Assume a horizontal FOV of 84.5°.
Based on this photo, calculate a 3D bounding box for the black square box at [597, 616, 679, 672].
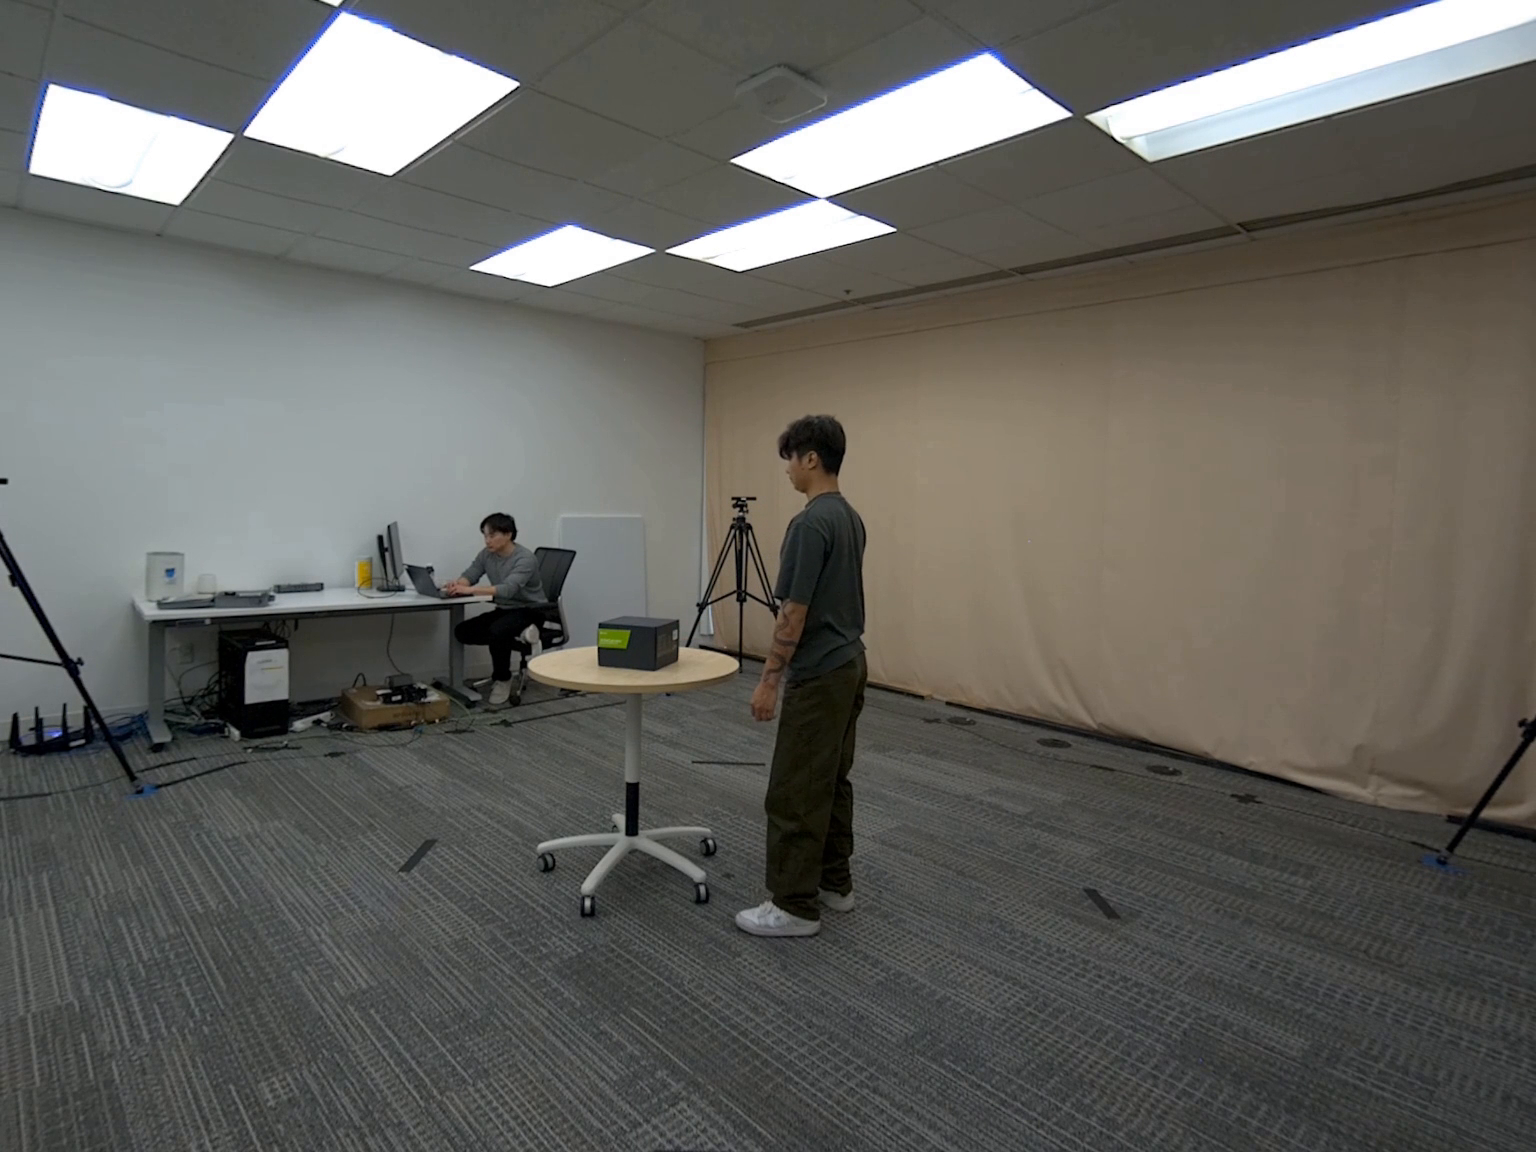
[{"bbox_3d":[-0.473,0.235,3.063,0.231,0.156,0.214,2,3,18],"label":"black square box"}]
